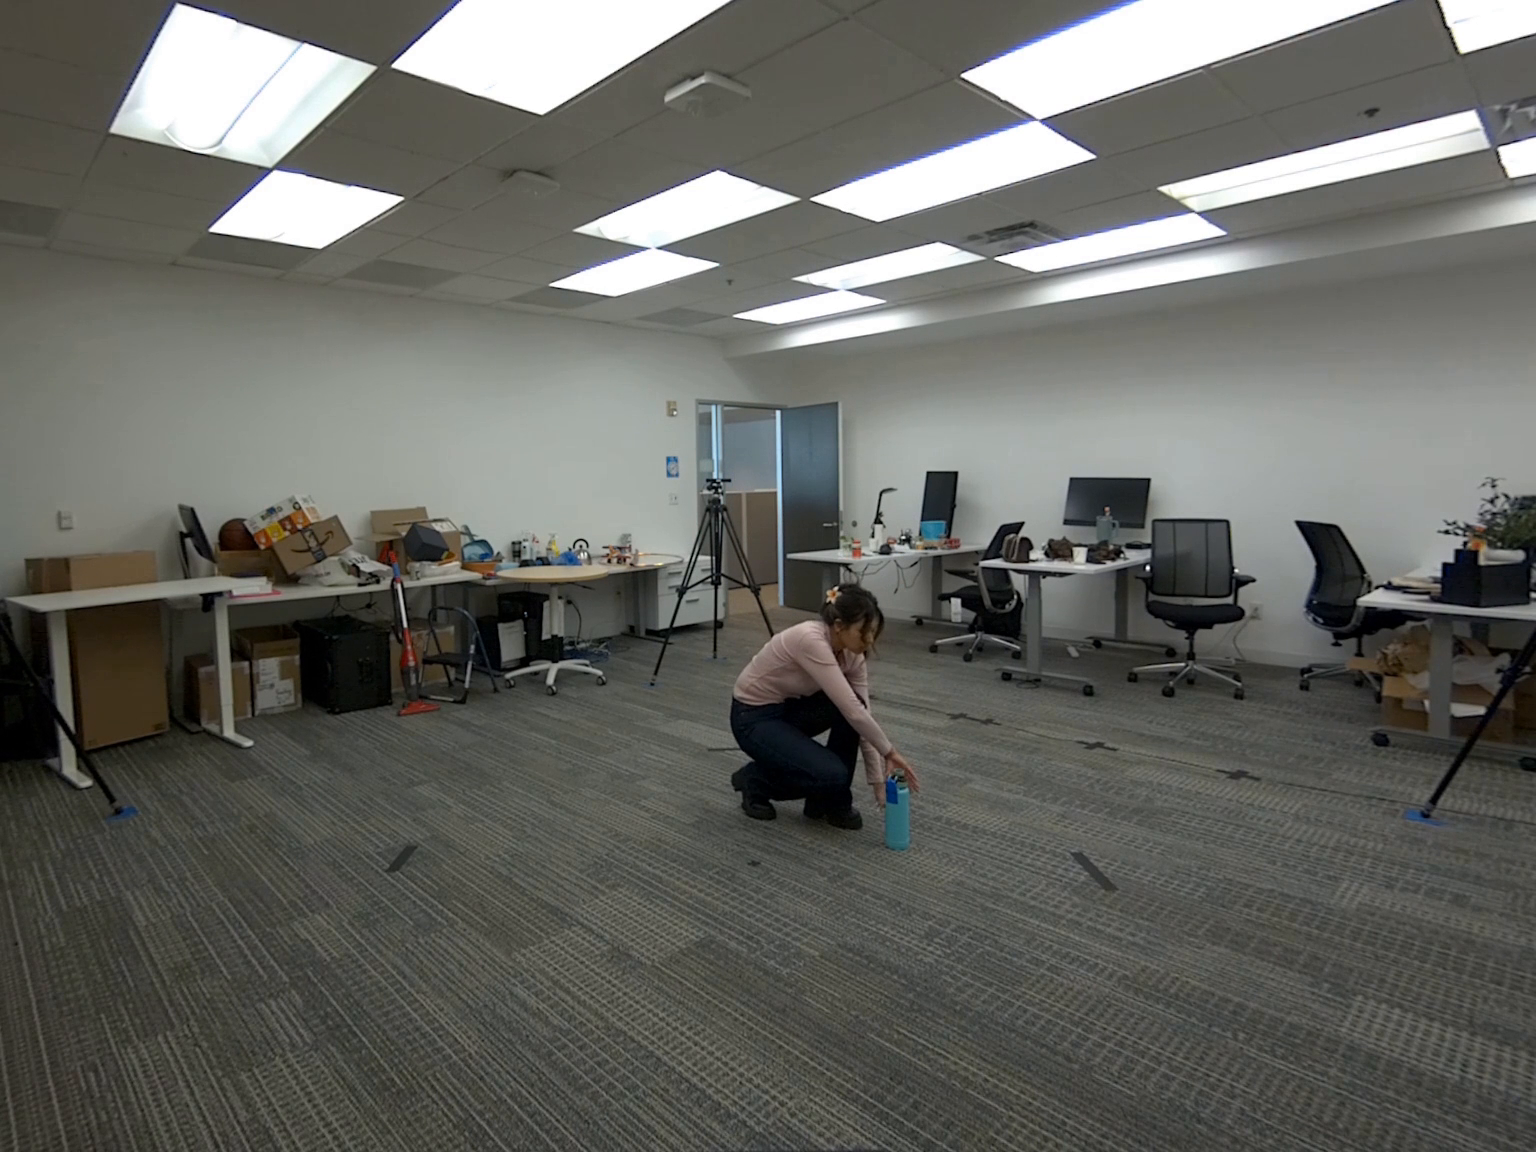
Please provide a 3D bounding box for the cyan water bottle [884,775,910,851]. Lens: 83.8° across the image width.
[{"bbox_3d":[0.490,0.889,3.228,0.092,0.282,0.093,-3,3,-1],"label":"cyan water bottle"}]
